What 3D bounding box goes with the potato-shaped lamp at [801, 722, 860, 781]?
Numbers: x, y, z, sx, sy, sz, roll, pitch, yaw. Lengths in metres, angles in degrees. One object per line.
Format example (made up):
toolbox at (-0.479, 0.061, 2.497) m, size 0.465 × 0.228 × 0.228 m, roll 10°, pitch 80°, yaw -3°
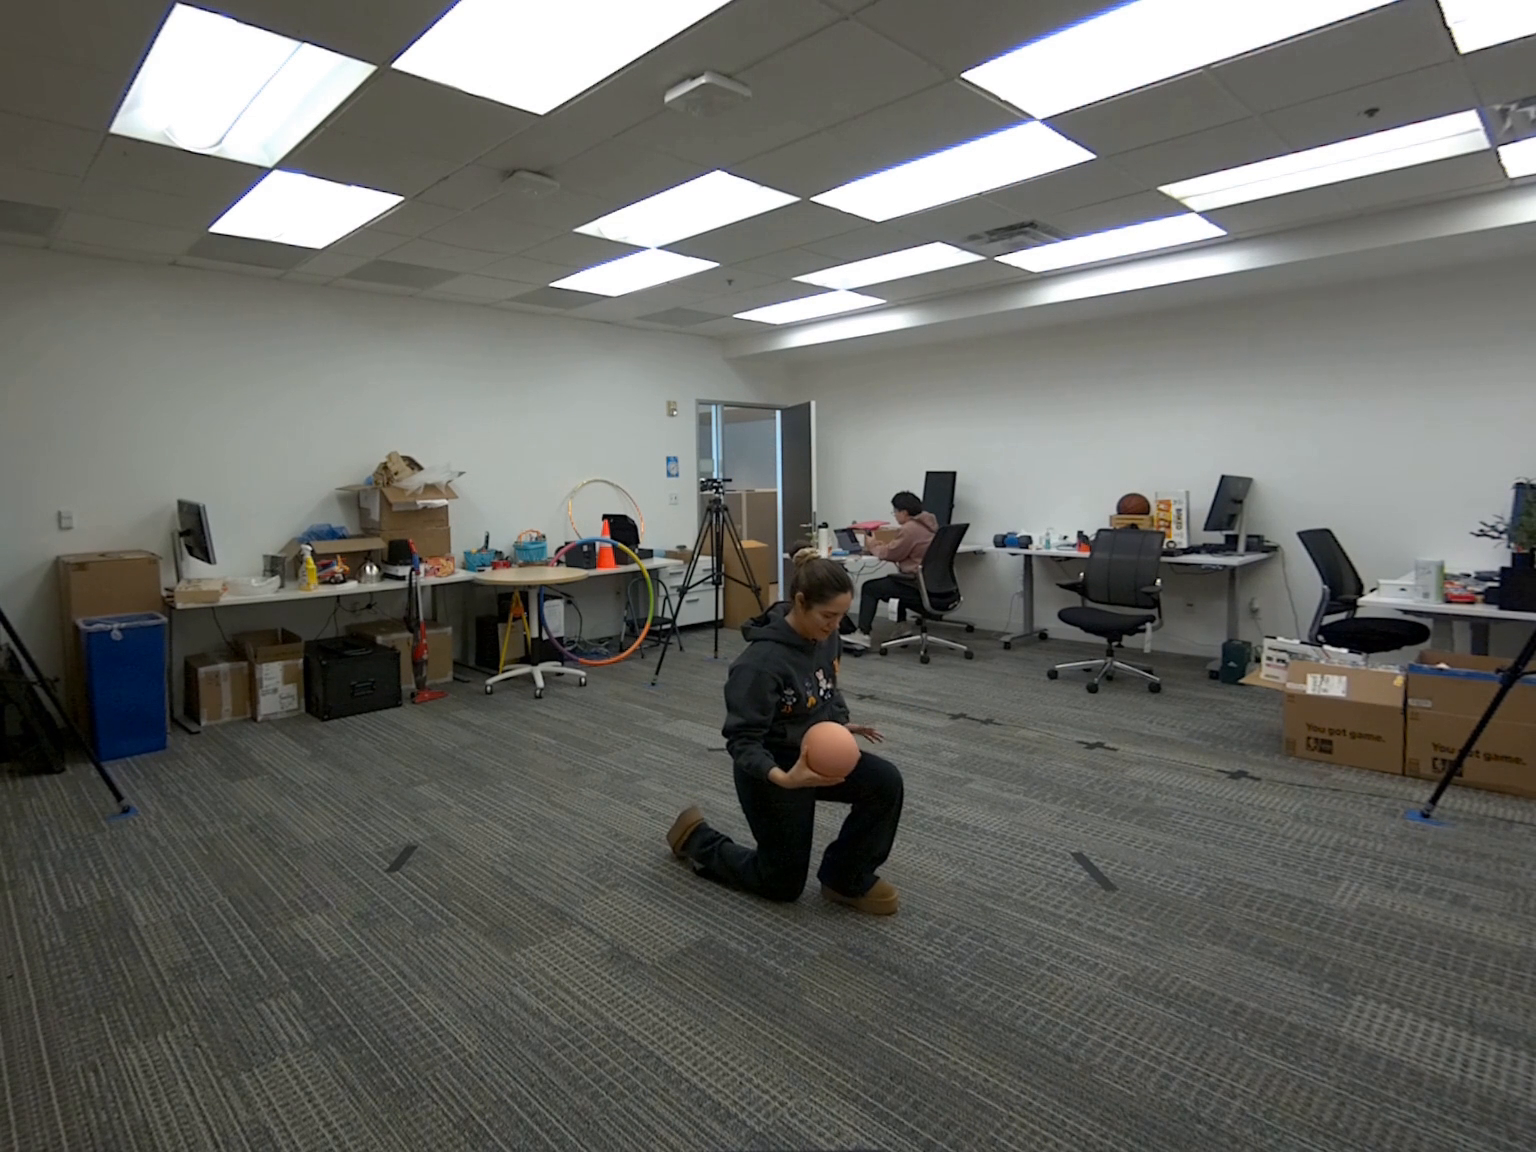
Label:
potato-shaped lamp at (0.181, 0.511, 2.464) m, size 0.164 × 0.172 × 0.197 m, roll -37°, pitch -3°, yaw -7°
